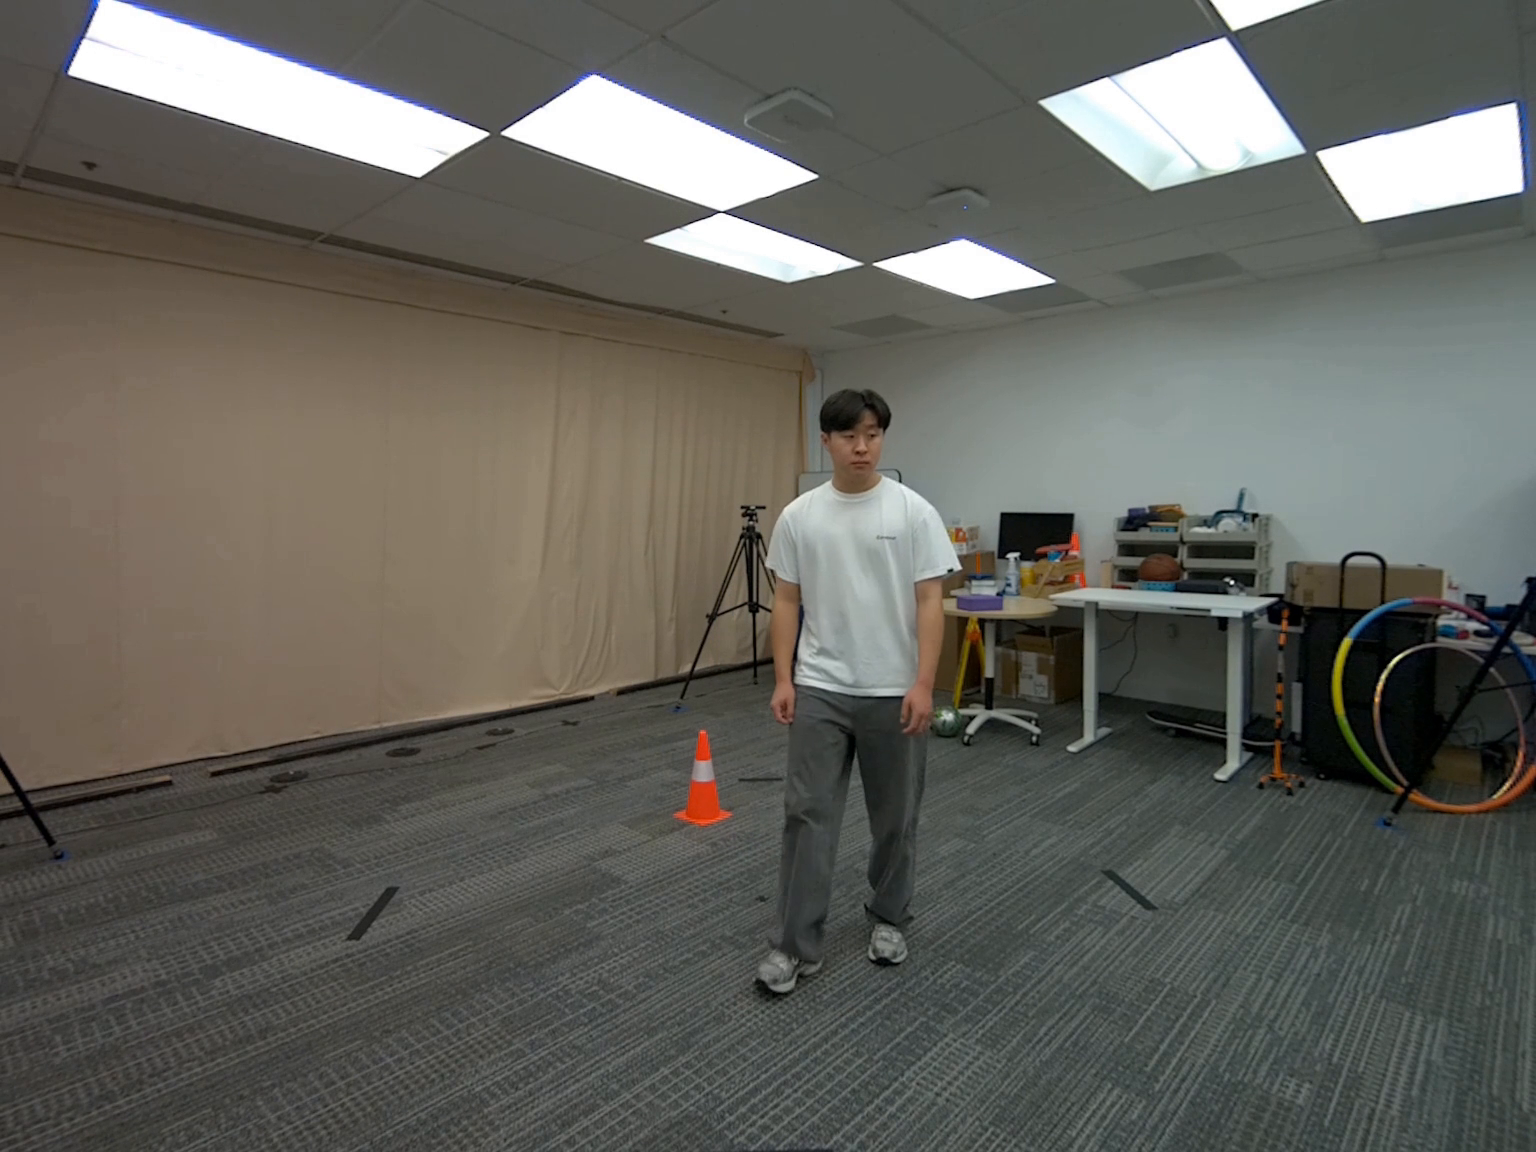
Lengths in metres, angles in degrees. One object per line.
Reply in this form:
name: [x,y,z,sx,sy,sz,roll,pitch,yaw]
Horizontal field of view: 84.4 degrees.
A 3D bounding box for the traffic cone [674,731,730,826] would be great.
traffic cone: [-0.288,0.894,3.802,0.197,0.383,0.212,-1,2,-45]
